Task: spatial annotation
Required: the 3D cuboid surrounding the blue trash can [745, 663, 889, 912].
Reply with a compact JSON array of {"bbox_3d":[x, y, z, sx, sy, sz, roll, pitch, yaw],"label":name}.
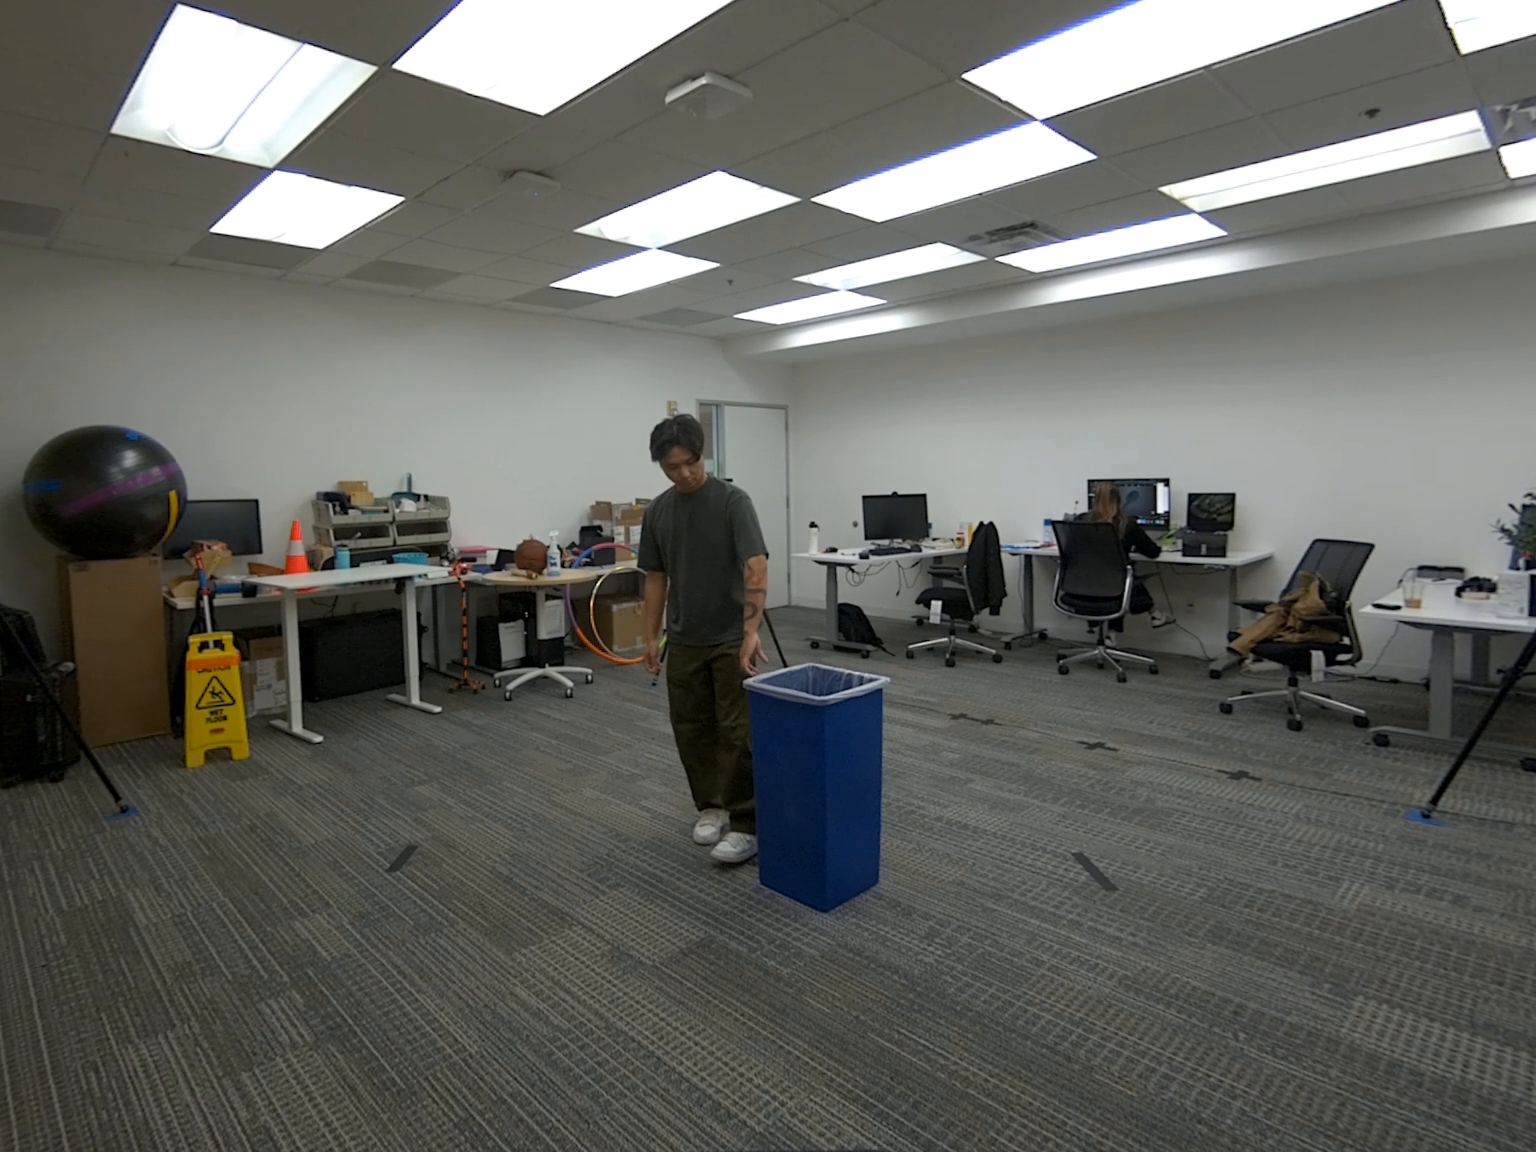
[{"bbox_3d":[0.173,0.704,2.915,0.389,0.711,0.364,2,5,44],"label":"blue trash can"}]
